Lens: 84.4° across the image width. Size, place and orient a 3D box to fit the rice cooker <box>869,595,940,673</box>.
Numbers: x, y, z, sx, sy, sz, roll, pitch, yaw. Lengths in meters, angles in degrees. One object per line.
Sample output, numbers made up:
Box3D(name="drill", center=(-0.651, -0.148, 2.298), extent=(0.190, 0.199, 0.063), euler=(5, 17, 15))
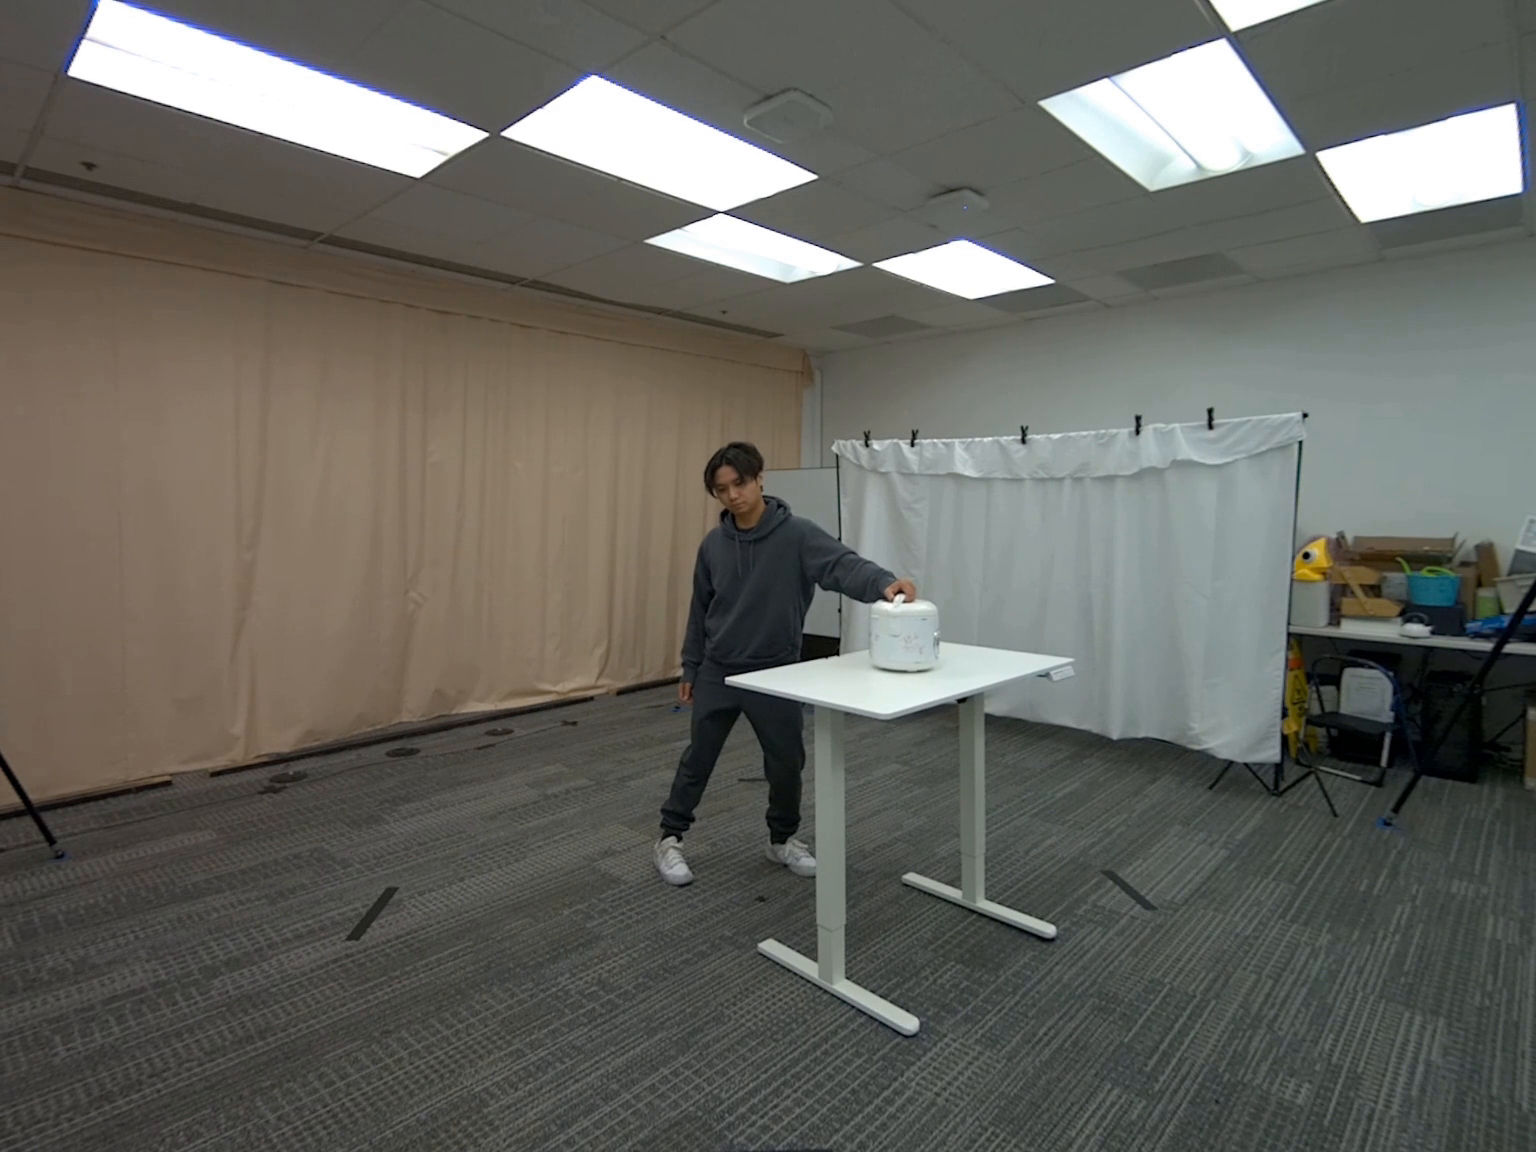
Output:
Box3D(name="rice cooker", center=(0.431, 0.175, 2.622), extent=(0.223, 0.232, 0.215), euler=(0, 2, 26))
